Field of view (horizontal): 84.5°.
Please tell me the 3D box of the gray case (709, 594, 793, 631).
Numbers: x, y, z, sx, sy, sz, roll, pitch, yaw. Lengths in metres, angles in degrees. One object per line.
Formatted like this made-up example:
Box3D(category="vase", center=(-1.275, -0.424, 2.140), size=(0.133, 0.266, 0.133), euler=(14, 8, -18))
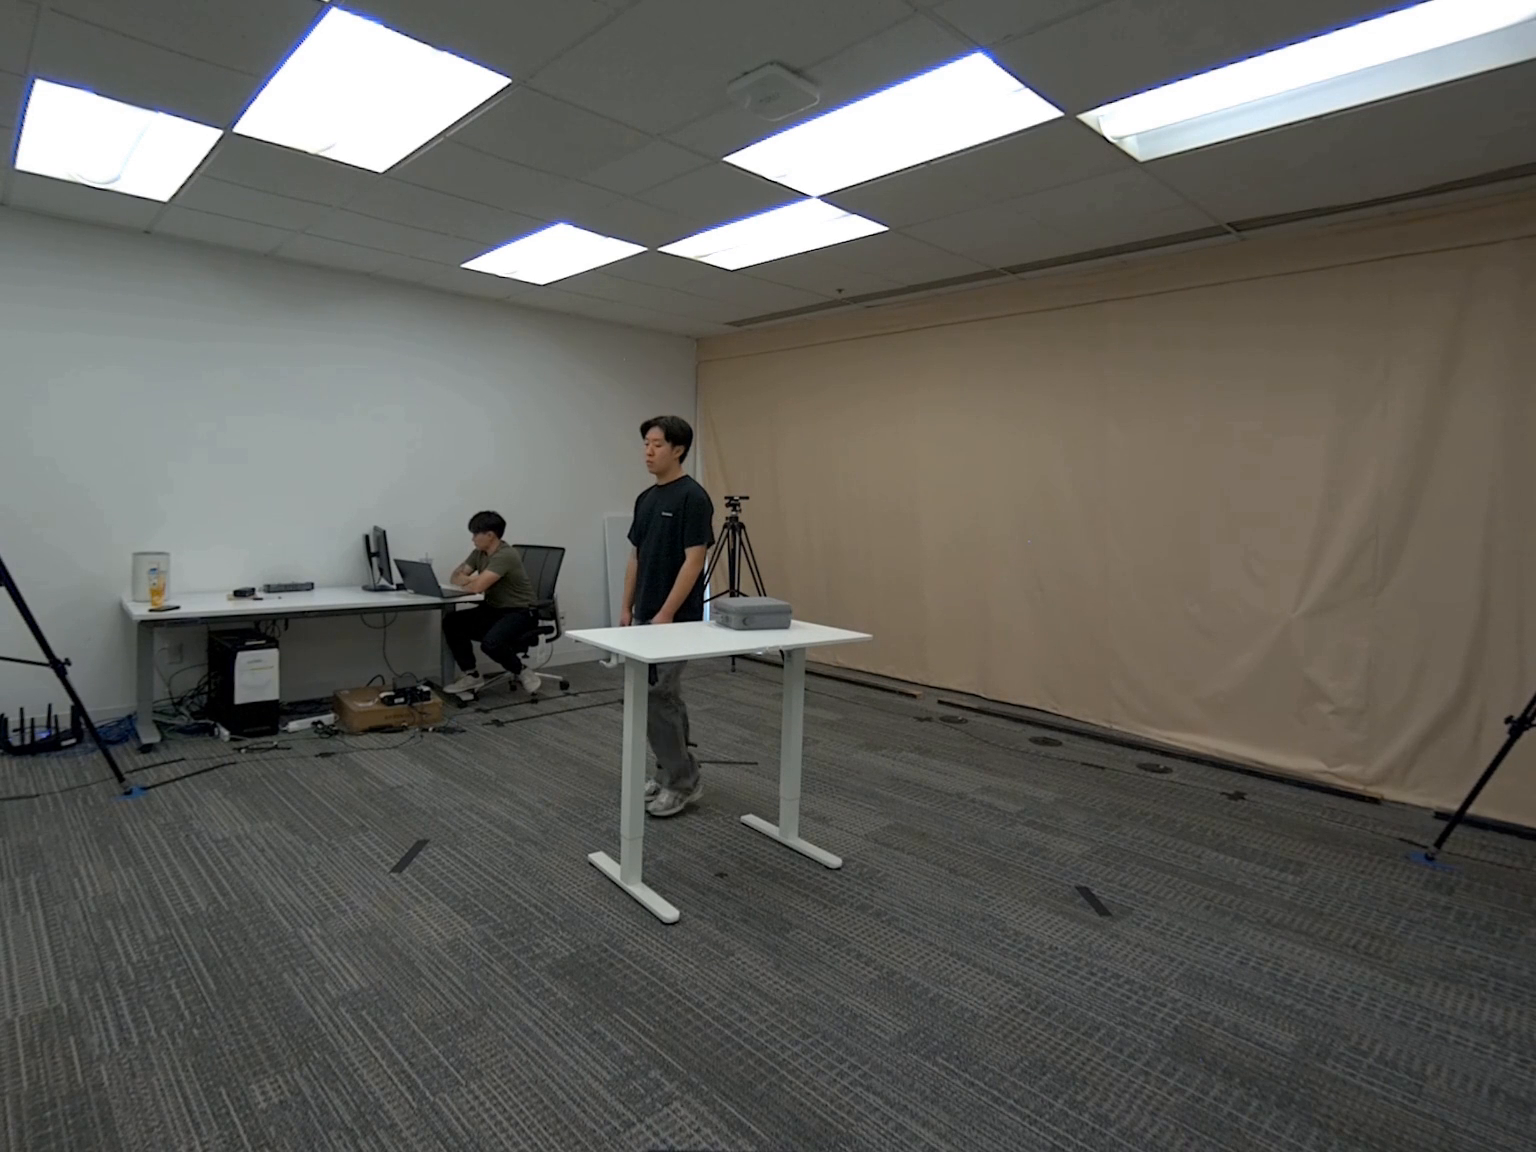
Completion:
Box3D(category="gray case", center=(-0.078, 0.149, 3.371), size=(0.282, 0.103, 0.268), euler=(-1, 6, -23))
